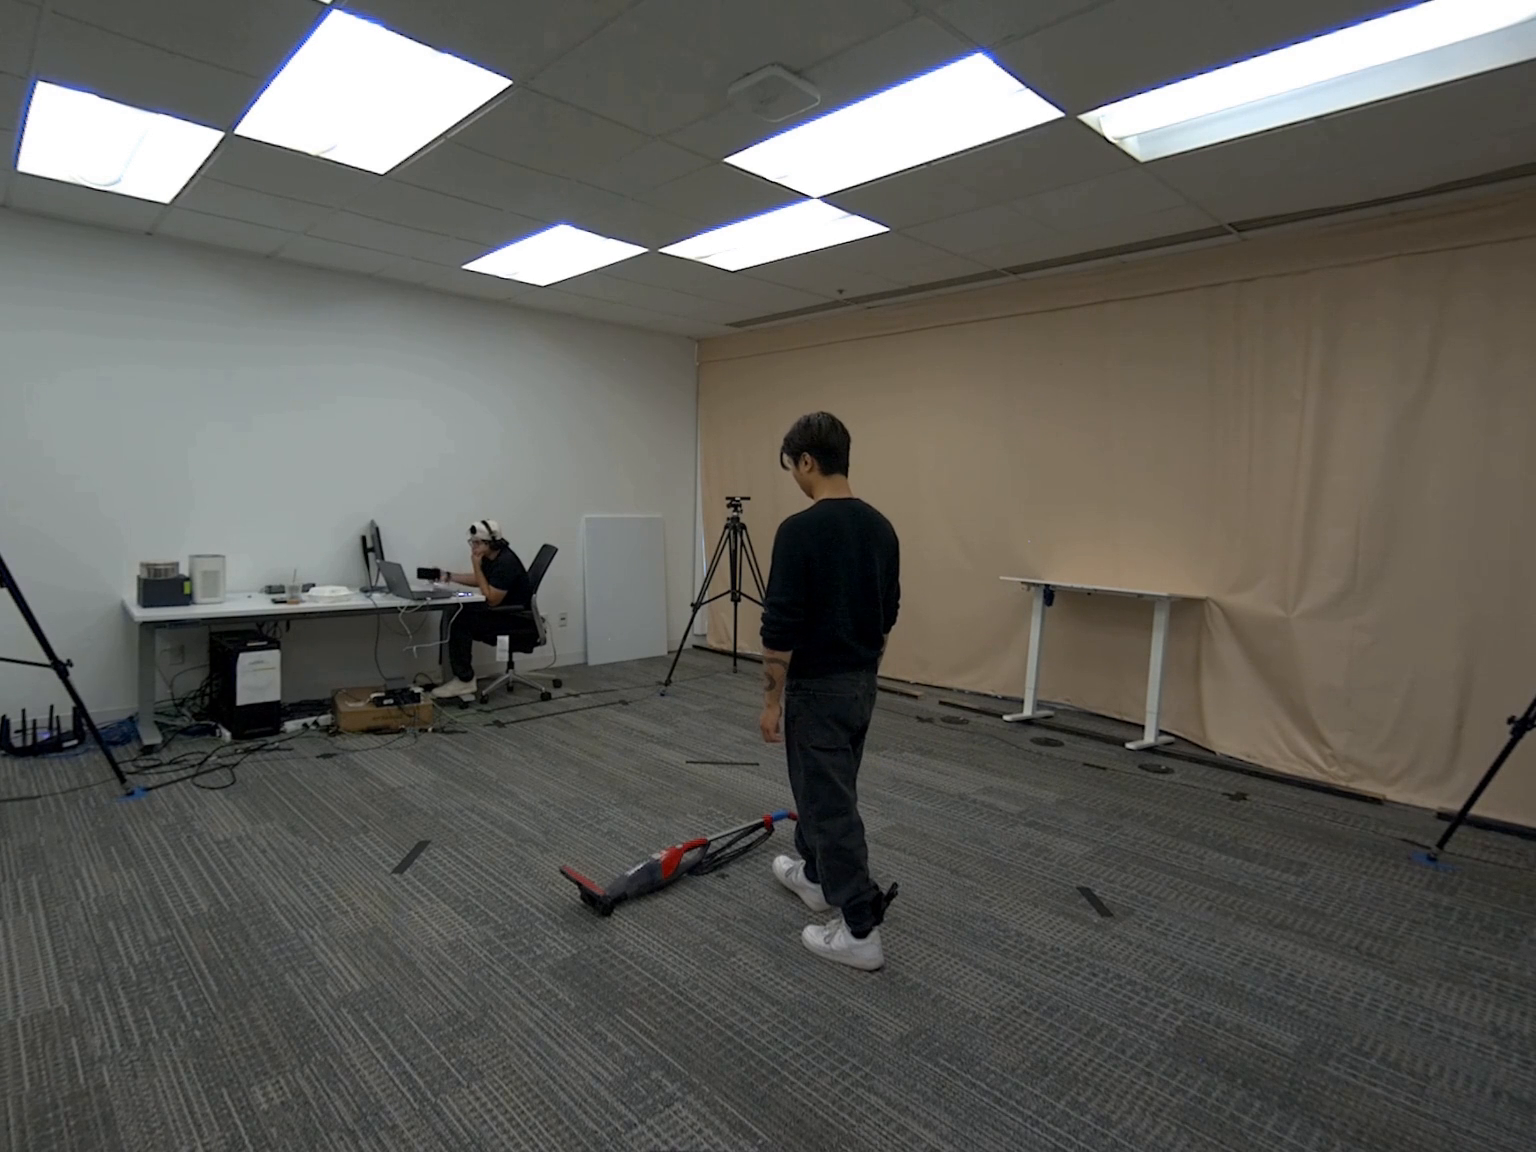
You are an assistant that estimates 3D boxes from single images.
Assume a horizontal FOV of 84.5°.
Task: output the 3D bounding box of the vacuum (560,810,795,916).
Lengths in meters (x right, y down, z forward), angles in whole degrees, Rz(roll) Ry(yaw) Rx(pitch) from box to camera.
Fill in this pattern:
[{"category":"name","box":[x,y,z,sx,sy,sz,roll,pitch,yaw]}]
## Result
[{"category":"vacuum","box":[-0.242,1.041,3.159,1.025,0.143,0.259,-2,8,-43]}]
